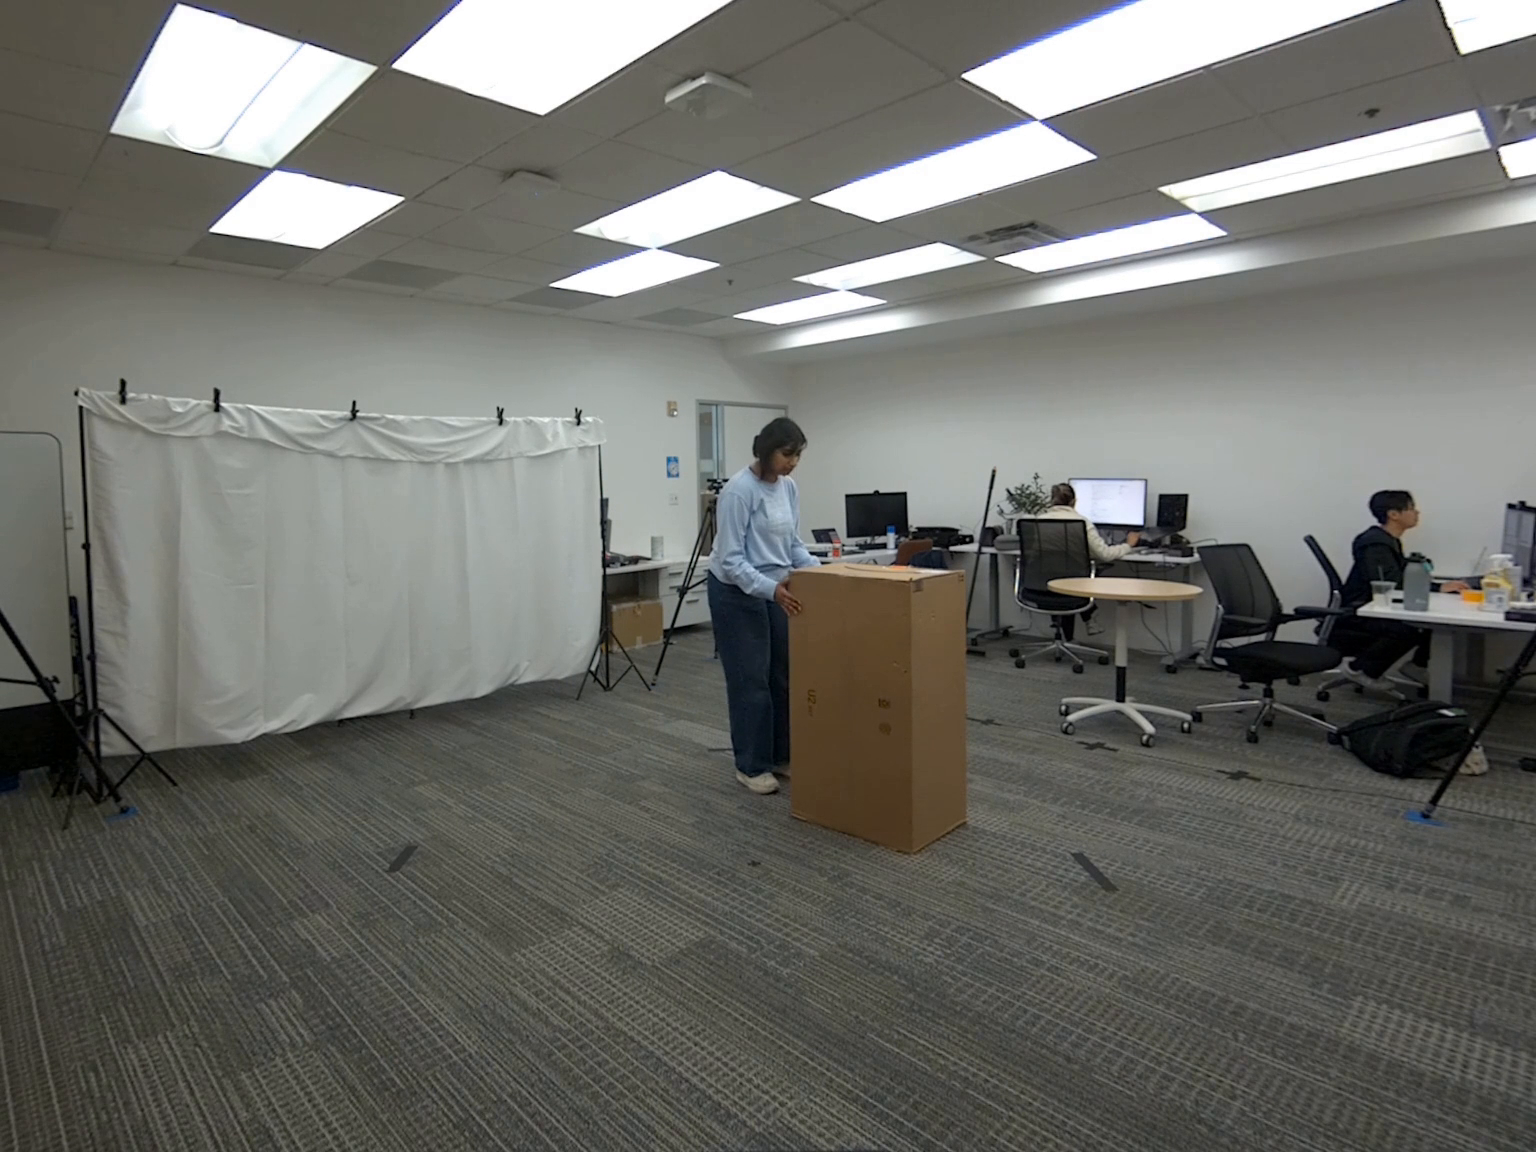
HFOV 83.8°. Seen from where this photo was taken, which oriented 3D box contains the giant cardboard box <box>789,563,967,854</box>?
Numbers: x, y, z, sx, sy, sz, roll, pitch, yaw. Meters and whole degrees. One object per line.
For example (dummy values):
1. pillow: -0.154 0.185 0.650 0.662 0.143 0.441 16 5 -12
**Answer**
1. giant cardboard box: 0.448 0.490 3.467 0.595 1.023 0.415 2 5 41
